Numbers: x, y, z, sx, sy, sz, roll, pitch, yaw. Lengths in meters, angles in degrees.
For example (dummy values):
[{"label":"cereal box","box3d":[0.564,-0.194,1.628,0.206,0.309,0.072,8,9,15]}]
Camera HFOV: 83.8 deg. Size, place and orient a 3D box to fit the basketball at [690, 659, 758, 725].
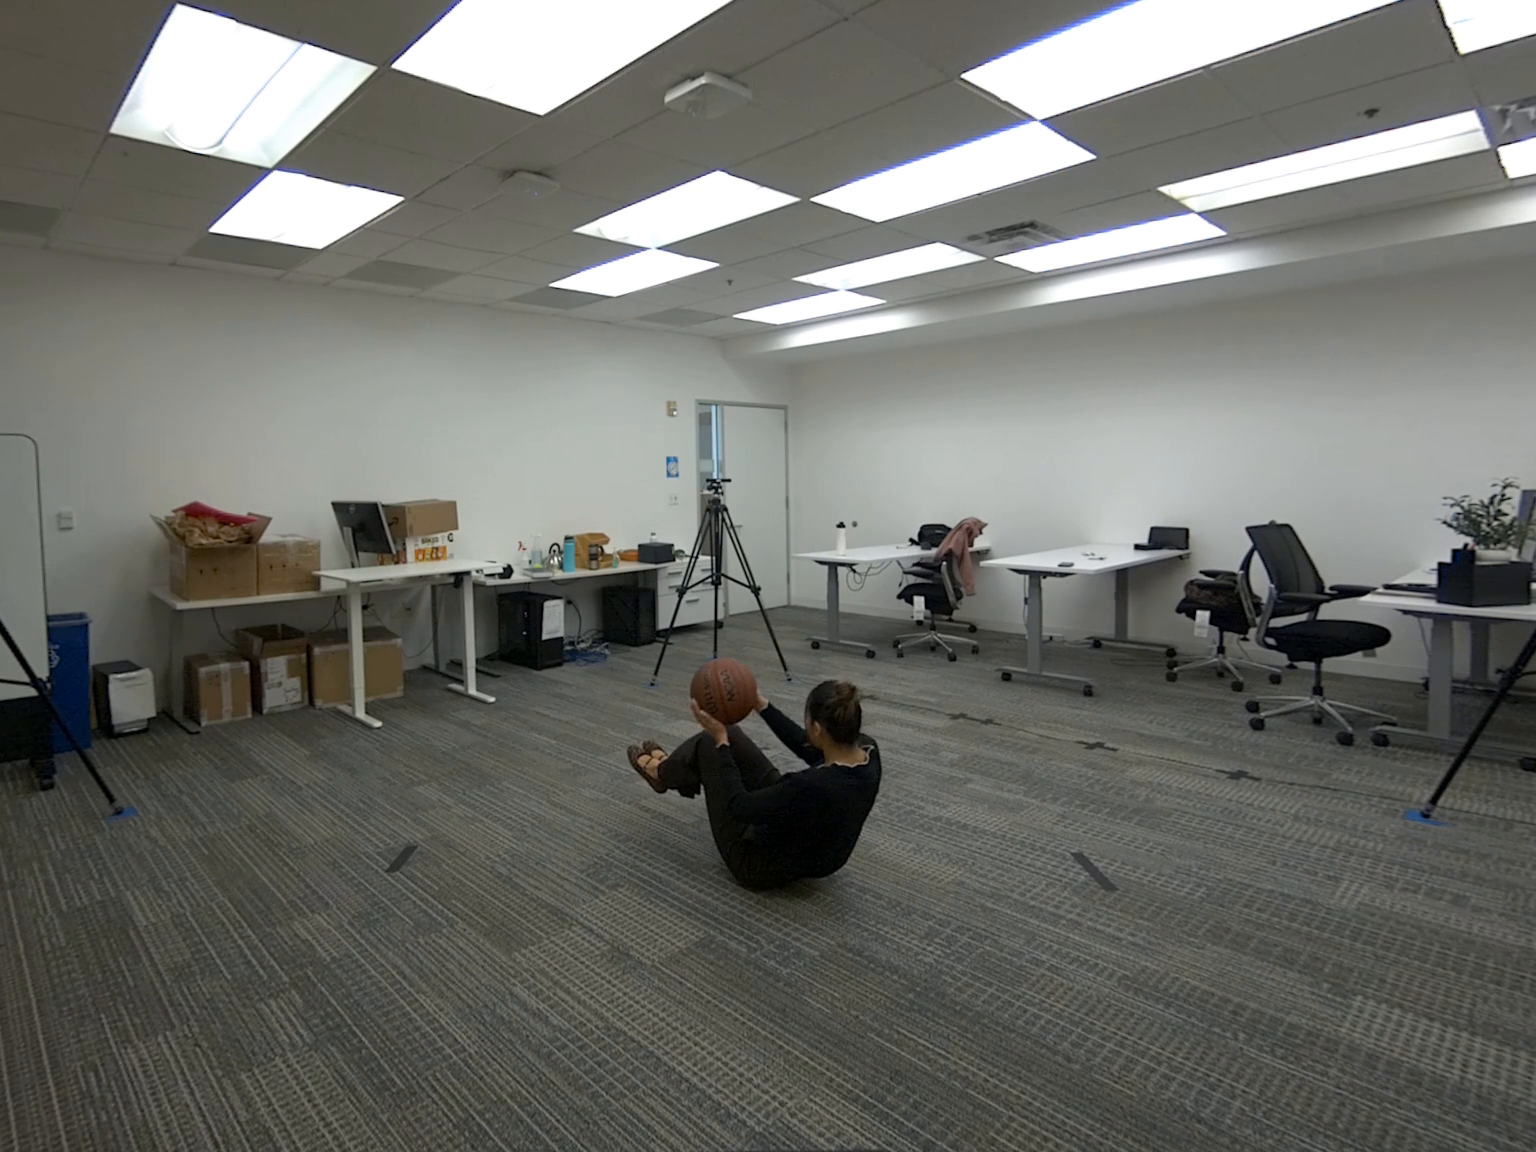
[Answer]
[{"label":"basketball","box3d":[-0.143,0.421,2.988,0.236,0.235,0.237,-1,5,-2]}]
